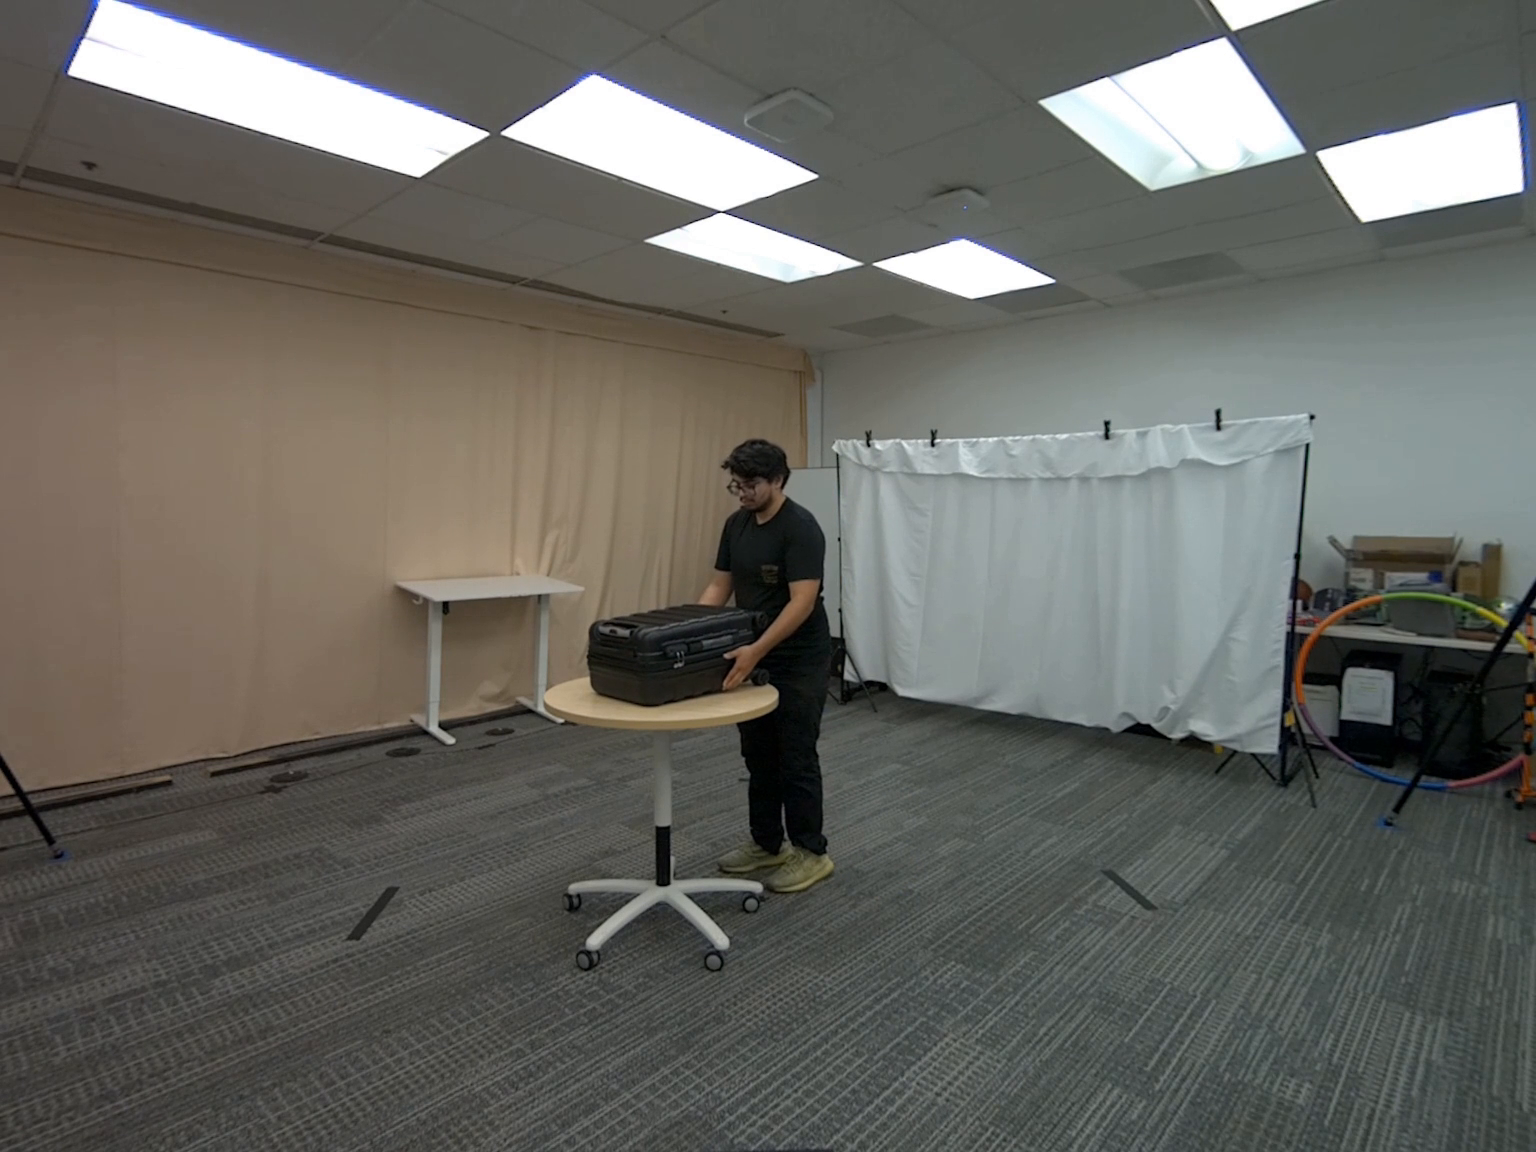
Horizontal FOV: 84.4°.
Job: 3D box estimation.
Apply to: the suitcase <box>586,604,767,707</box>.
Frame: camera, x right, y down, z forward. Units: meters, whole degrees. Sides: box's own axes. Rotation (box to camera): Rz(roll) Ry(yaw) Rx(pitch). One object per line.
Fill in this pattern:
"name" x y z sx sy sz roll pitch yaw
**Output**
"suitcase" -0.318 0.256 2.795 0.388 0.247 0.533 4 7 44
